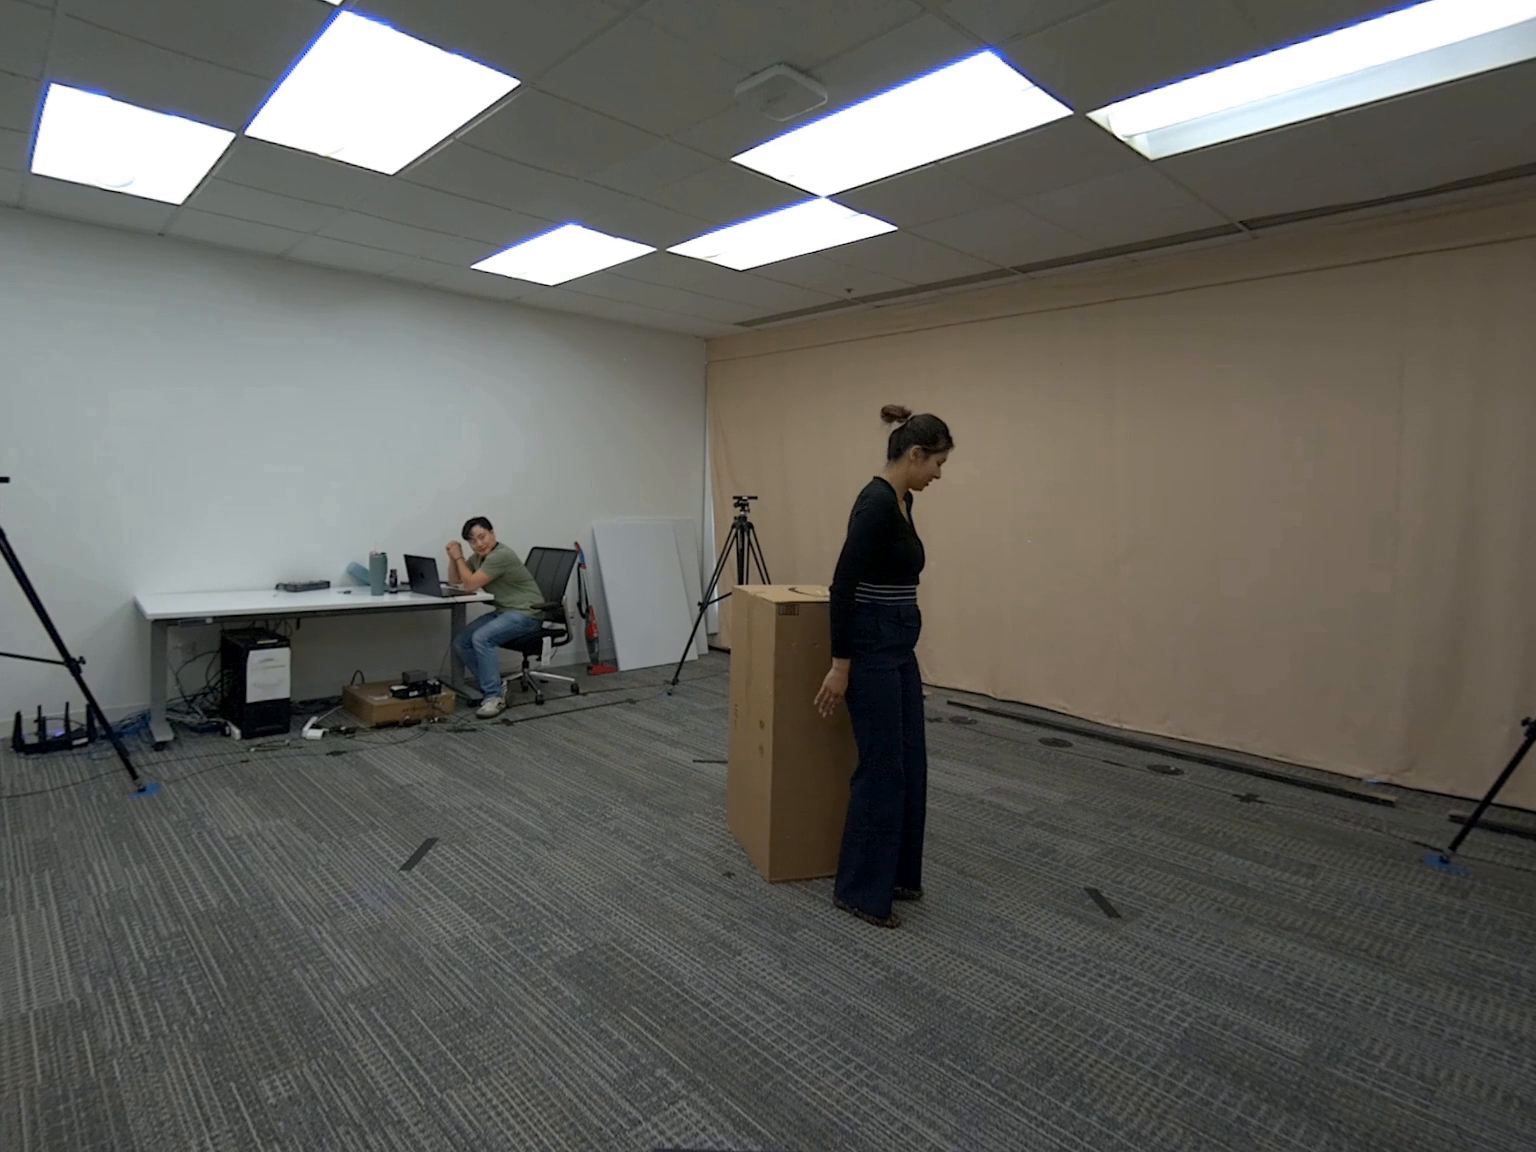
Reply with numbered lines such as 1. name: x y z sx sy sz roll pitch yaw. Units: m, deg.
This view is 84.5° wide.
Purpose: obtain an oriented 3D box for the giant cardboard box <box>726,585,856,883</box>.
1. giant cardboard box: 0.114 0.577 3.349 0.420 1.024 0.586 1 3 -18
